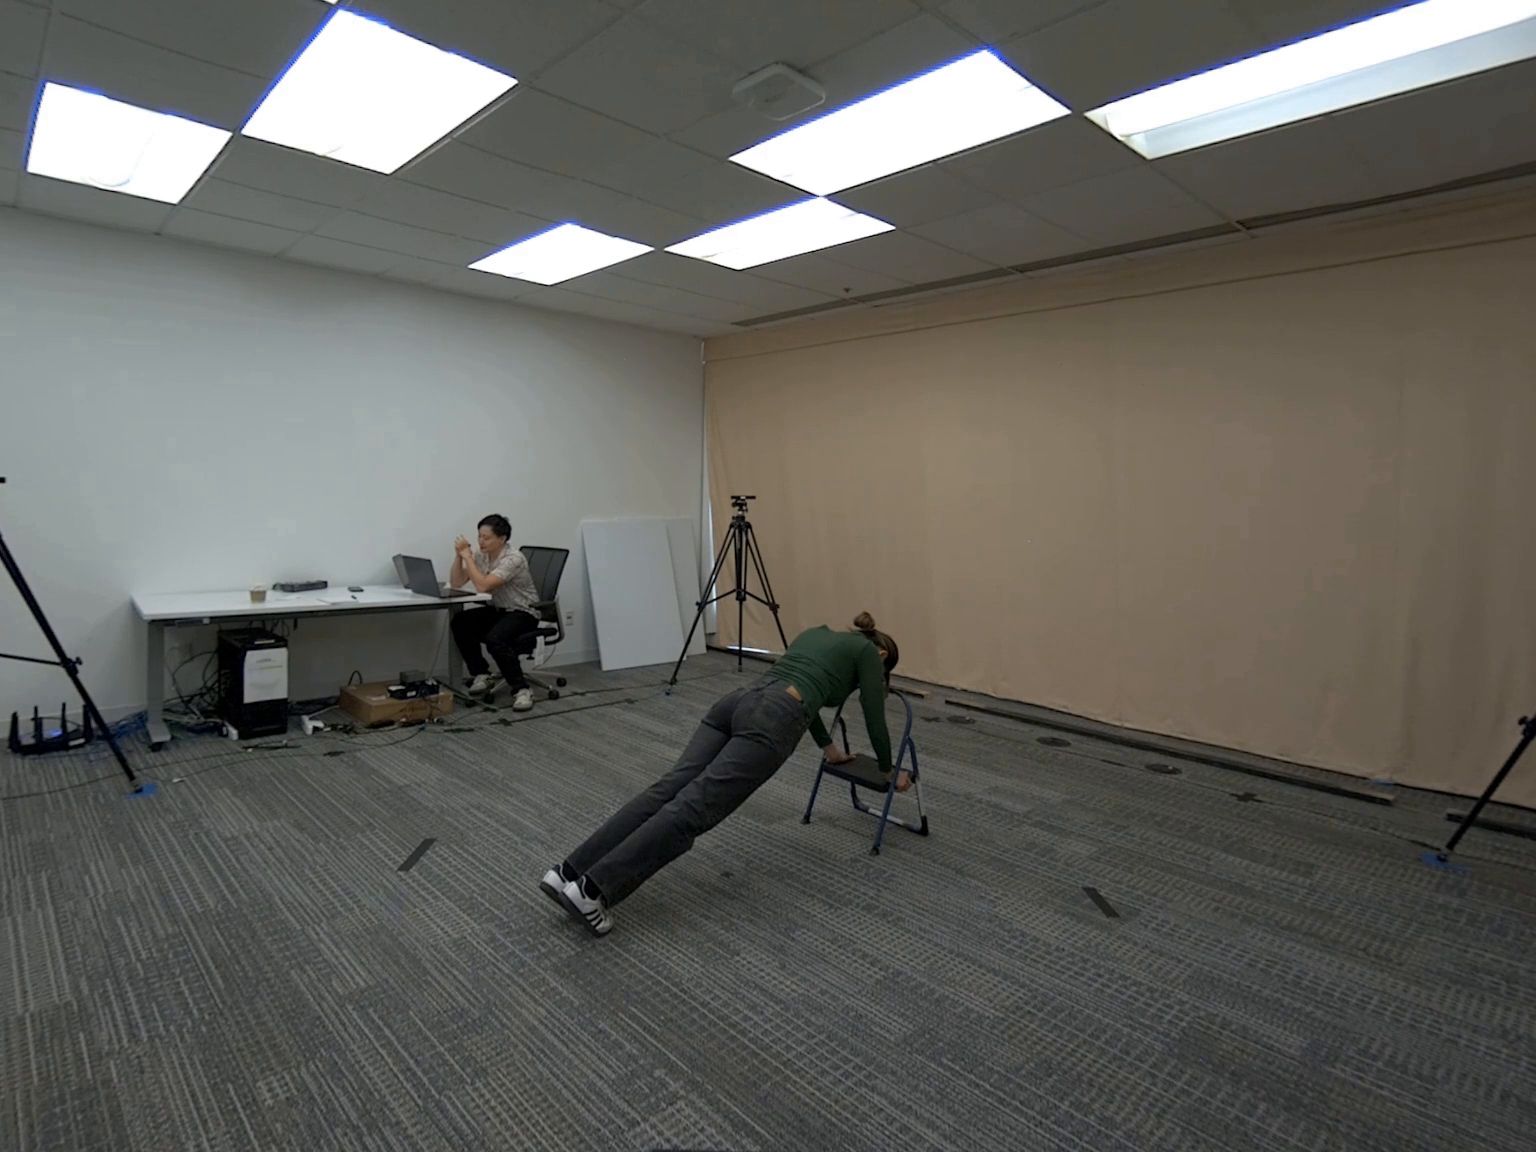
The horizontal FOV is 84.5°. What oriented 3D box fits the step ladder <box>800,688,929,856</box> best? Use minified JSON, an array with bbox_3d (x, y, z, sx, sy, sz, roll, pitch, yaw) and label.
[{"bbox_3d":[0.411,0.774,3.557,0.341,0.605,0.441,-1,4,-40],"label":"step ladder"}]
